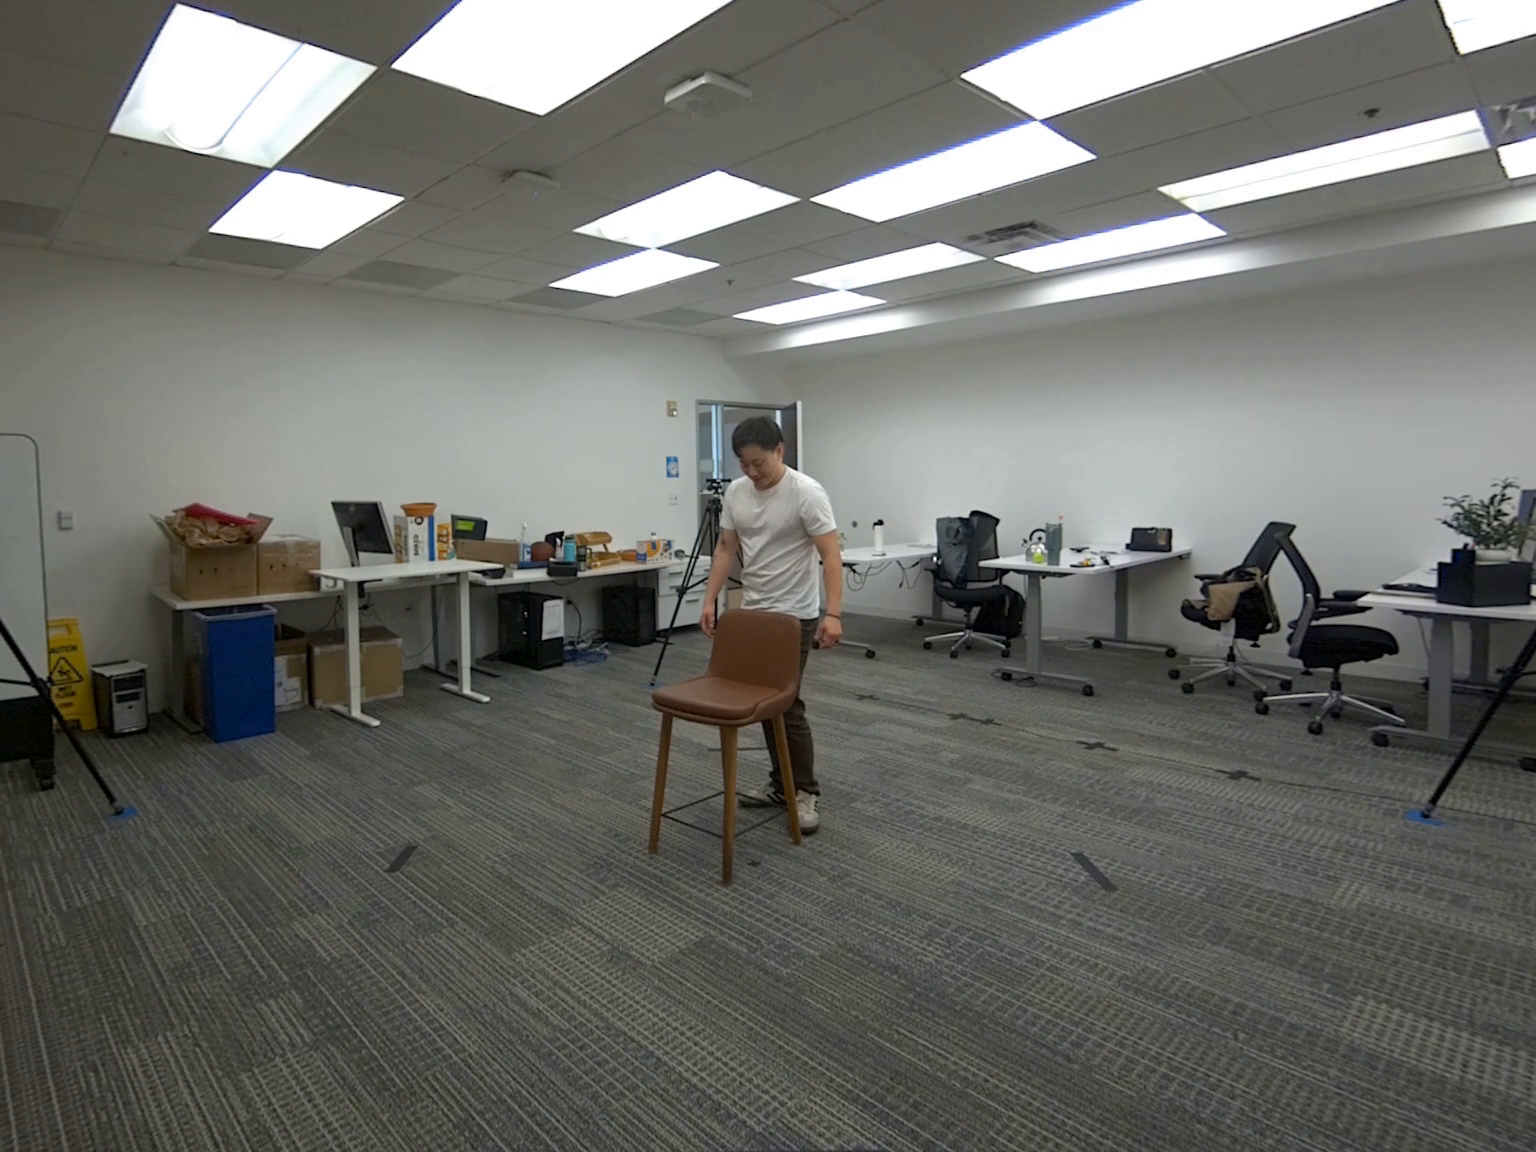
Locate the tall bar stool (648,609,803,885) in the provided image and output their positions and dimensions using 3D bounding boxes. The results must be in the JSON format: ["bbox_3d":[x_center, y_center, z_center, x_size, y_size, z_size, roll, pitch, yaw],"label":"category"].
[{"bbox_3d":[-0.155,0.594,3.215,0.470,0.888,0.454,2,3,41],"label":"tall bar stool"}]
